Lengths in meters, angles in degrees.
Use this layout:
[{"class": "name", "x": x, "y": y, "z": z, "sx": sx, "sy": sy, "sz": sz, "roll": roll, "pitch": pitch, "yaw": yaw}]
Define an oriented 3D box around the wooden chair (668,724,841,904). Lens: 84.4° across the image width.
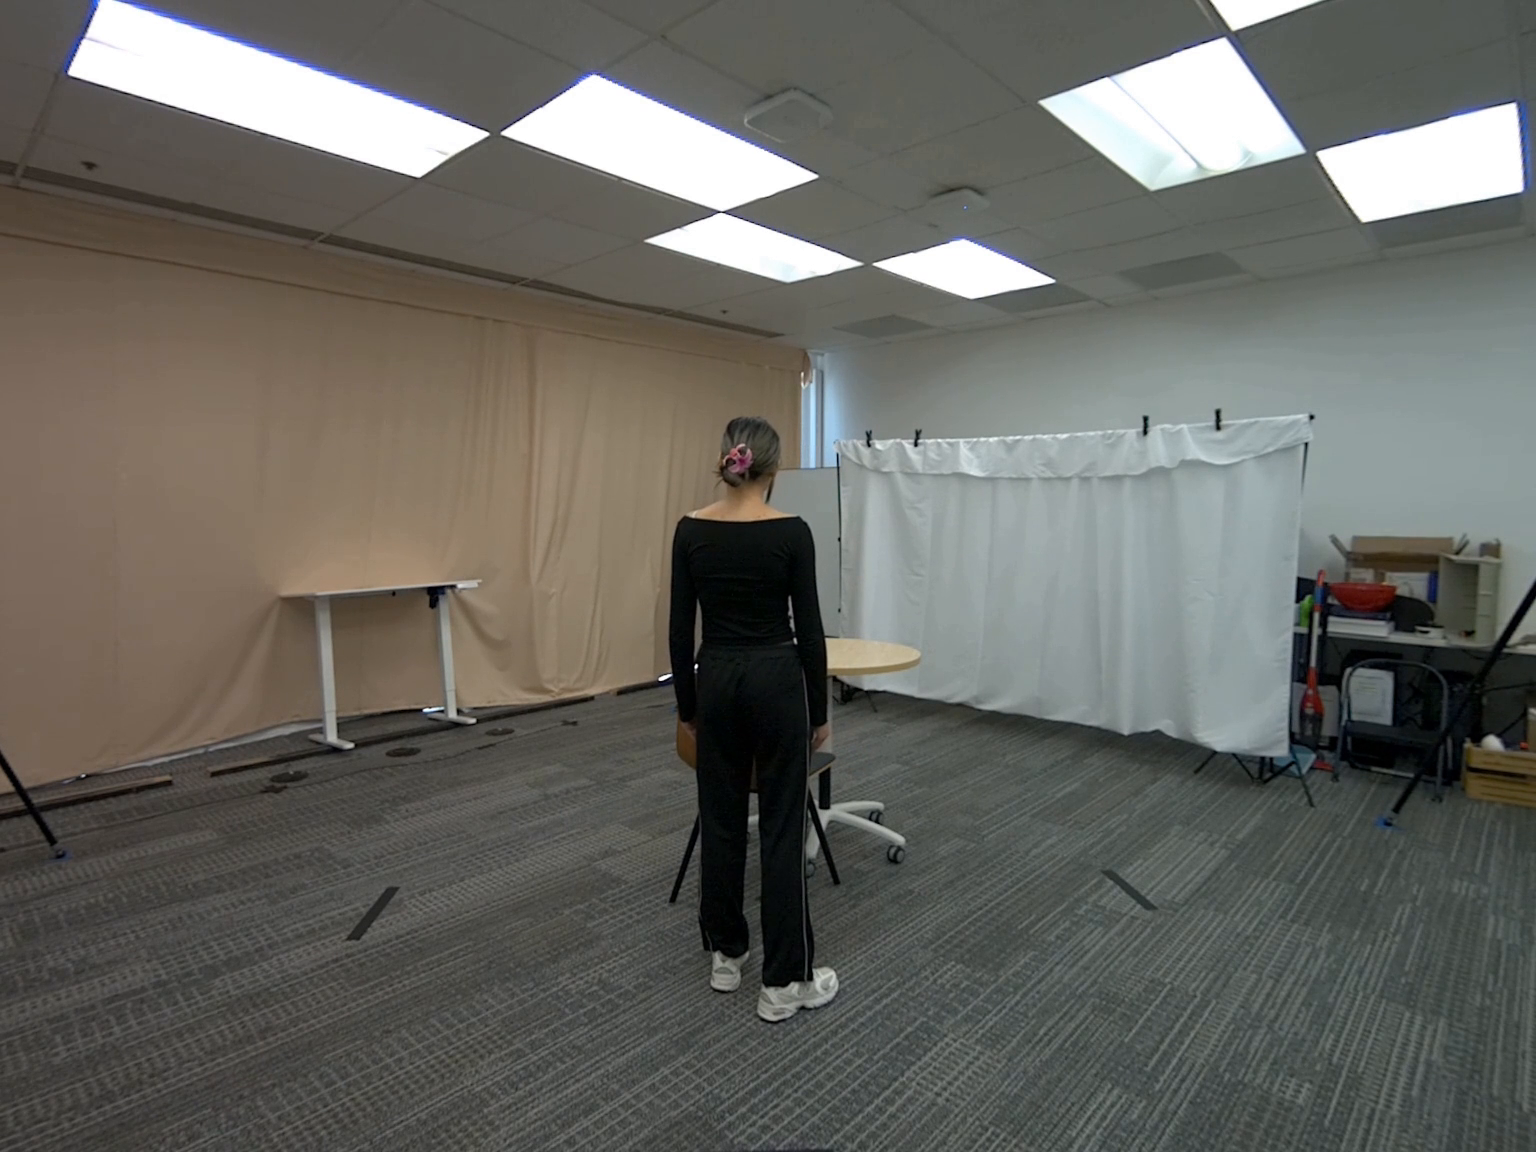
[{"class": "wooden chair", "x": -0.037, "y": 0.712, "z": 3.003, "sx": 0.492, "sy": 0.873, "sz": 0.510, "roll": 1, "pitch": 8, "yaw": 31}]
